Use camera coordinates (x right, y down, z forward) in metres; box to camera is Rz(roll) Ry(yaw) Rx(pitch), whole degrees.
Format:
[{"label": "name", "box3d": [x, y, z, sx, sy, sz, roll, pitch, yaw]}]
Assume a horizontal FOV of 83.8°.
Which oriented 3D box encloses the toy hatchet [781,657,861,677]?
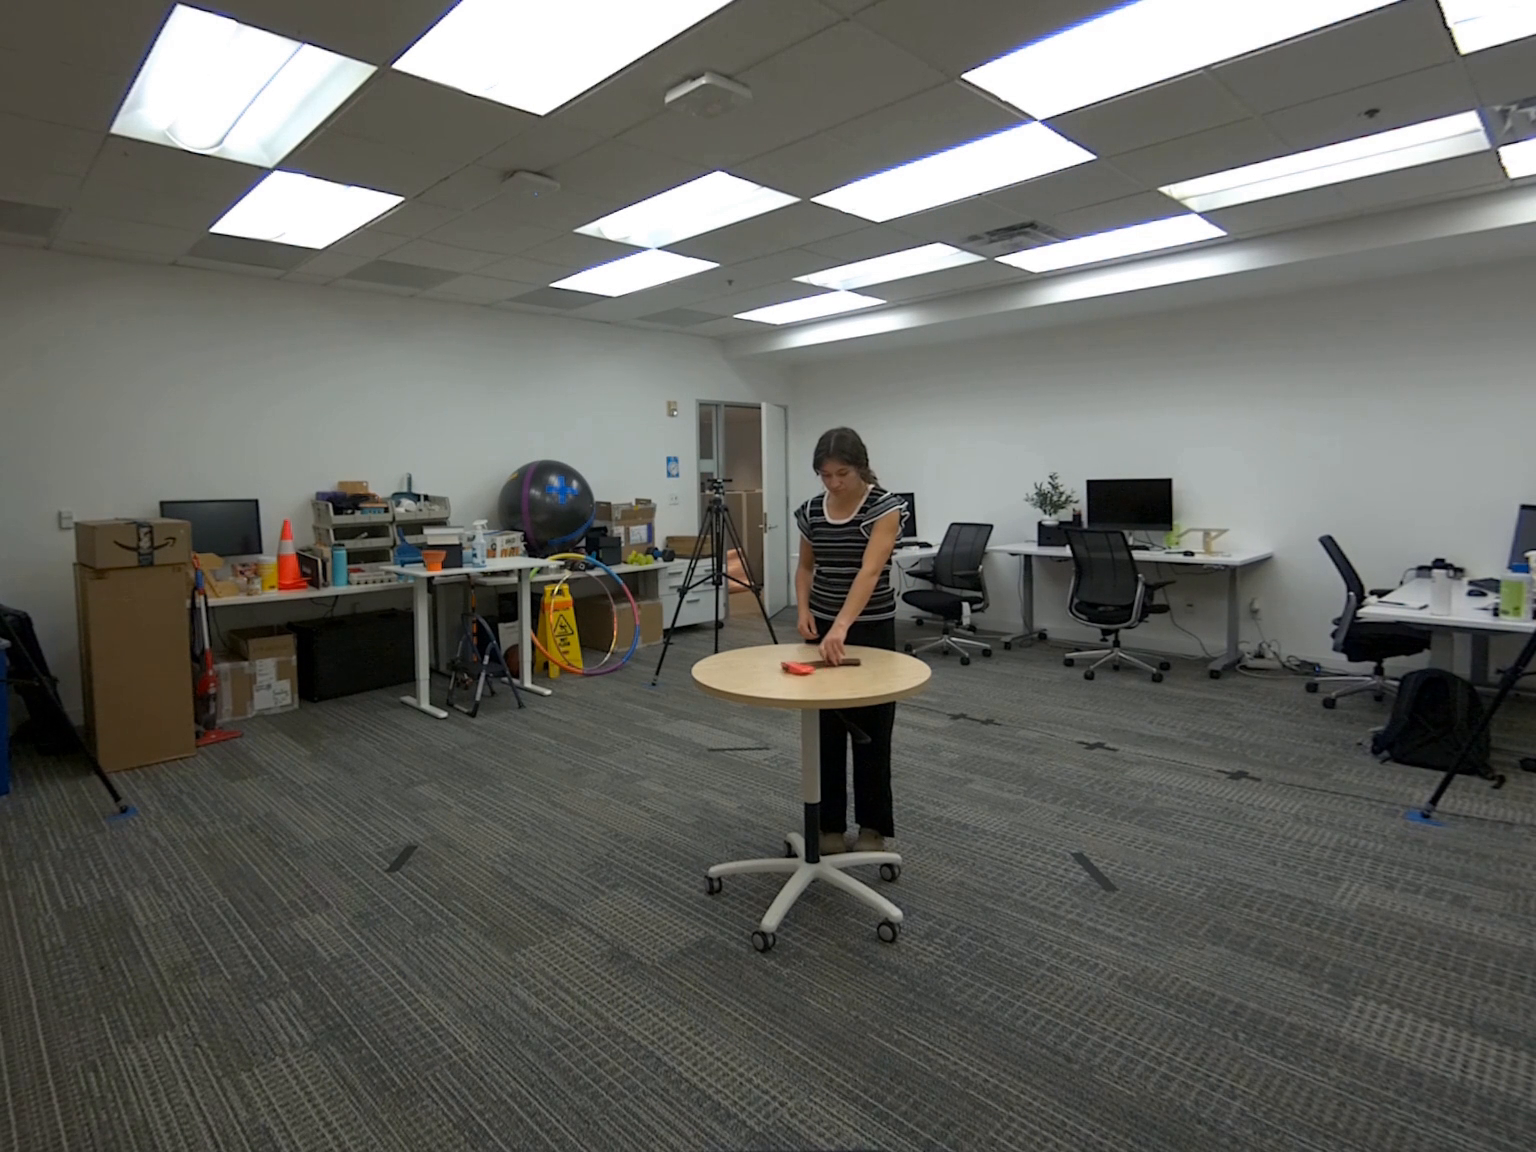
[{"label": "toy hatchet", "box3d": [0.187, 0.288, 2.727, 0.268, 0.029, 0.132, -1, 3, -8]}]
